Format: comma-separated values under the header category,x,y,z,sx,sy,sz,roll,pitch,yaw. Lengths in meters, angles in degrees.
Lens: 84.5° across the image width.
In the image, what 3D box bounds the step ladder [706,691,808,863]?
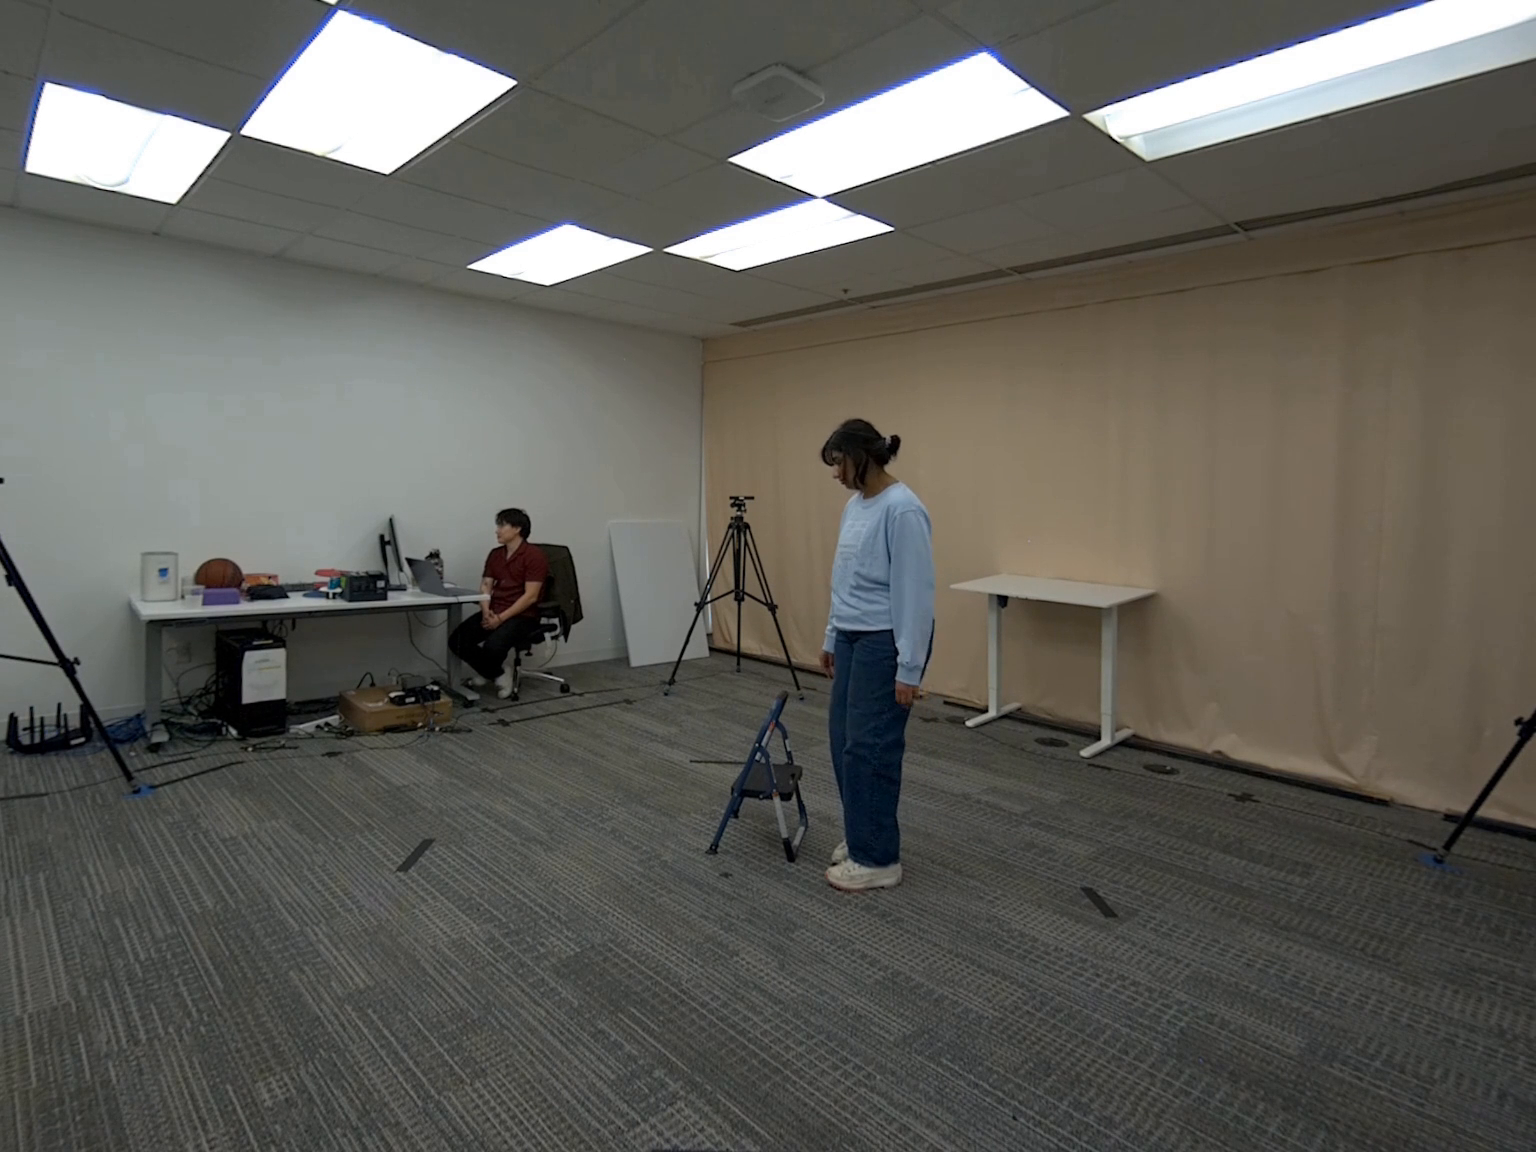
category,x,y,z,sx,sy,sz,roll,pitch,yaw
step ladder,-0.028,0.774,3.445,0.353,0.605,0.427,2,3,11
